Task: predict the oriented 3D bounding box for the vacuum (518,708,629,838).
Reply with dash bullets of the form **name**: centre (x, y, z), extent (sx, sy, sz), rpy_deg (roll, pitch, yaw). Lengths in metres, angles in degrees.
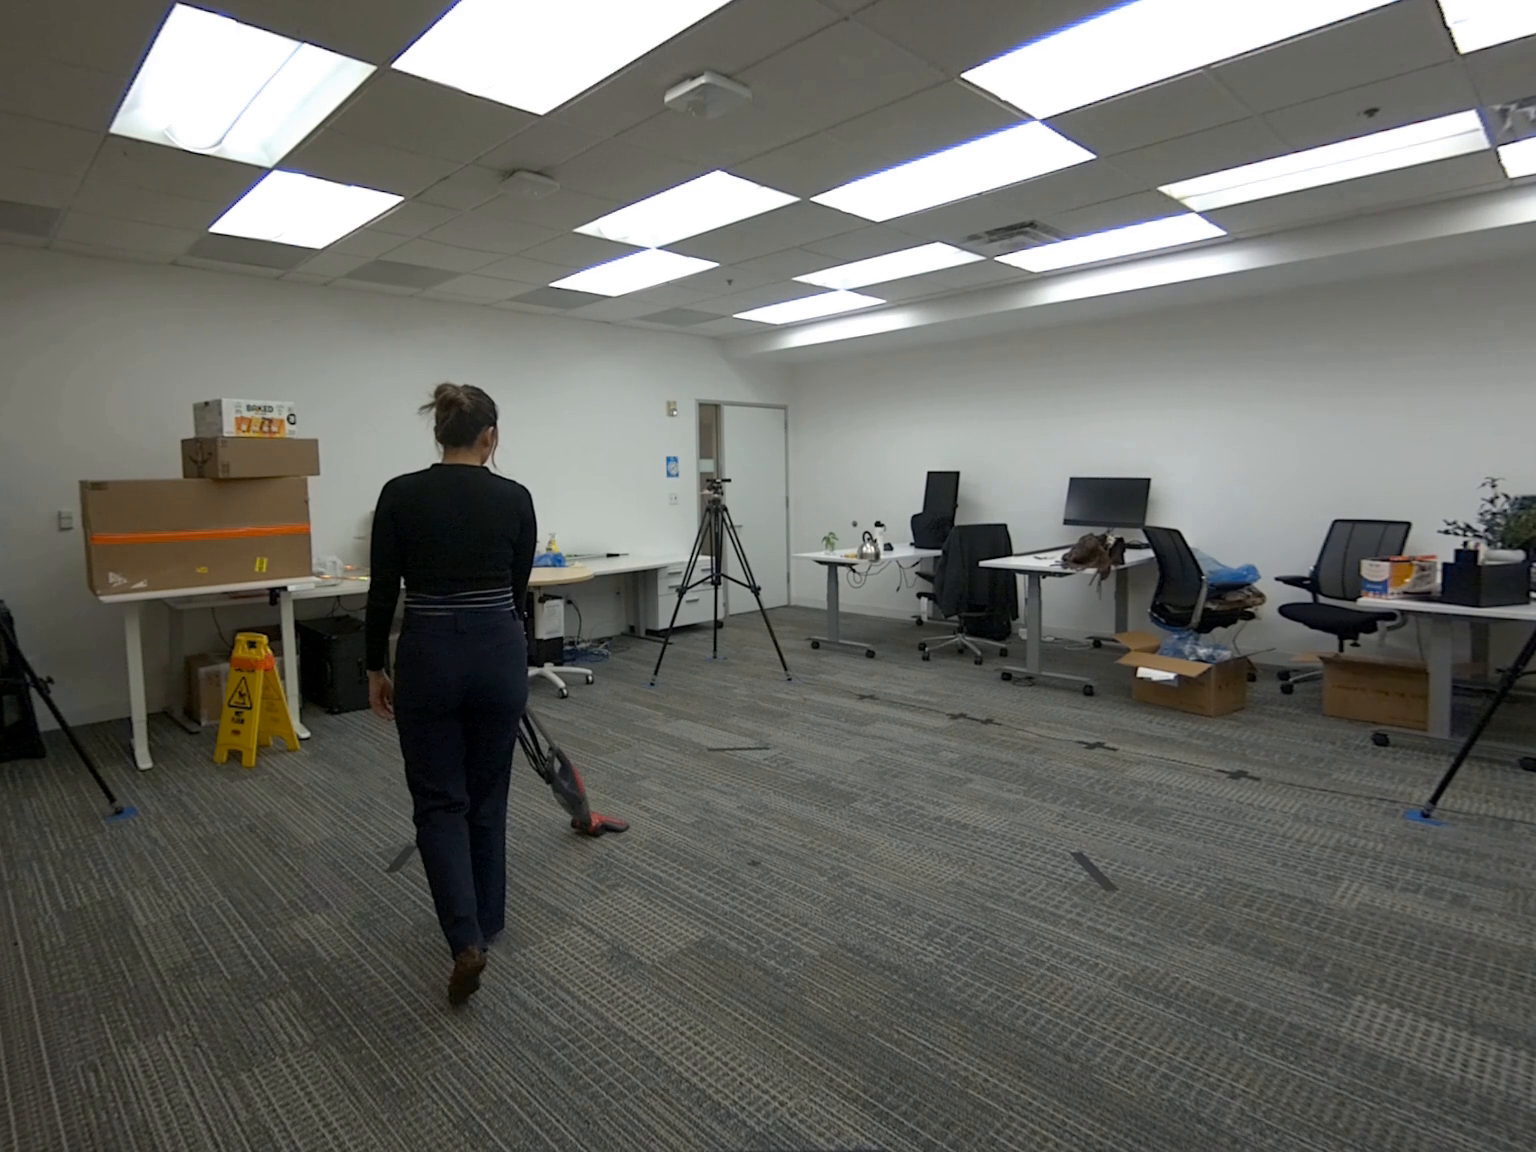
- **vacuum**: centre (-0.789, 0.658, 3.088), extent (0.258, 1.014, 0.146), rpy_deg (6, 48, 21)
